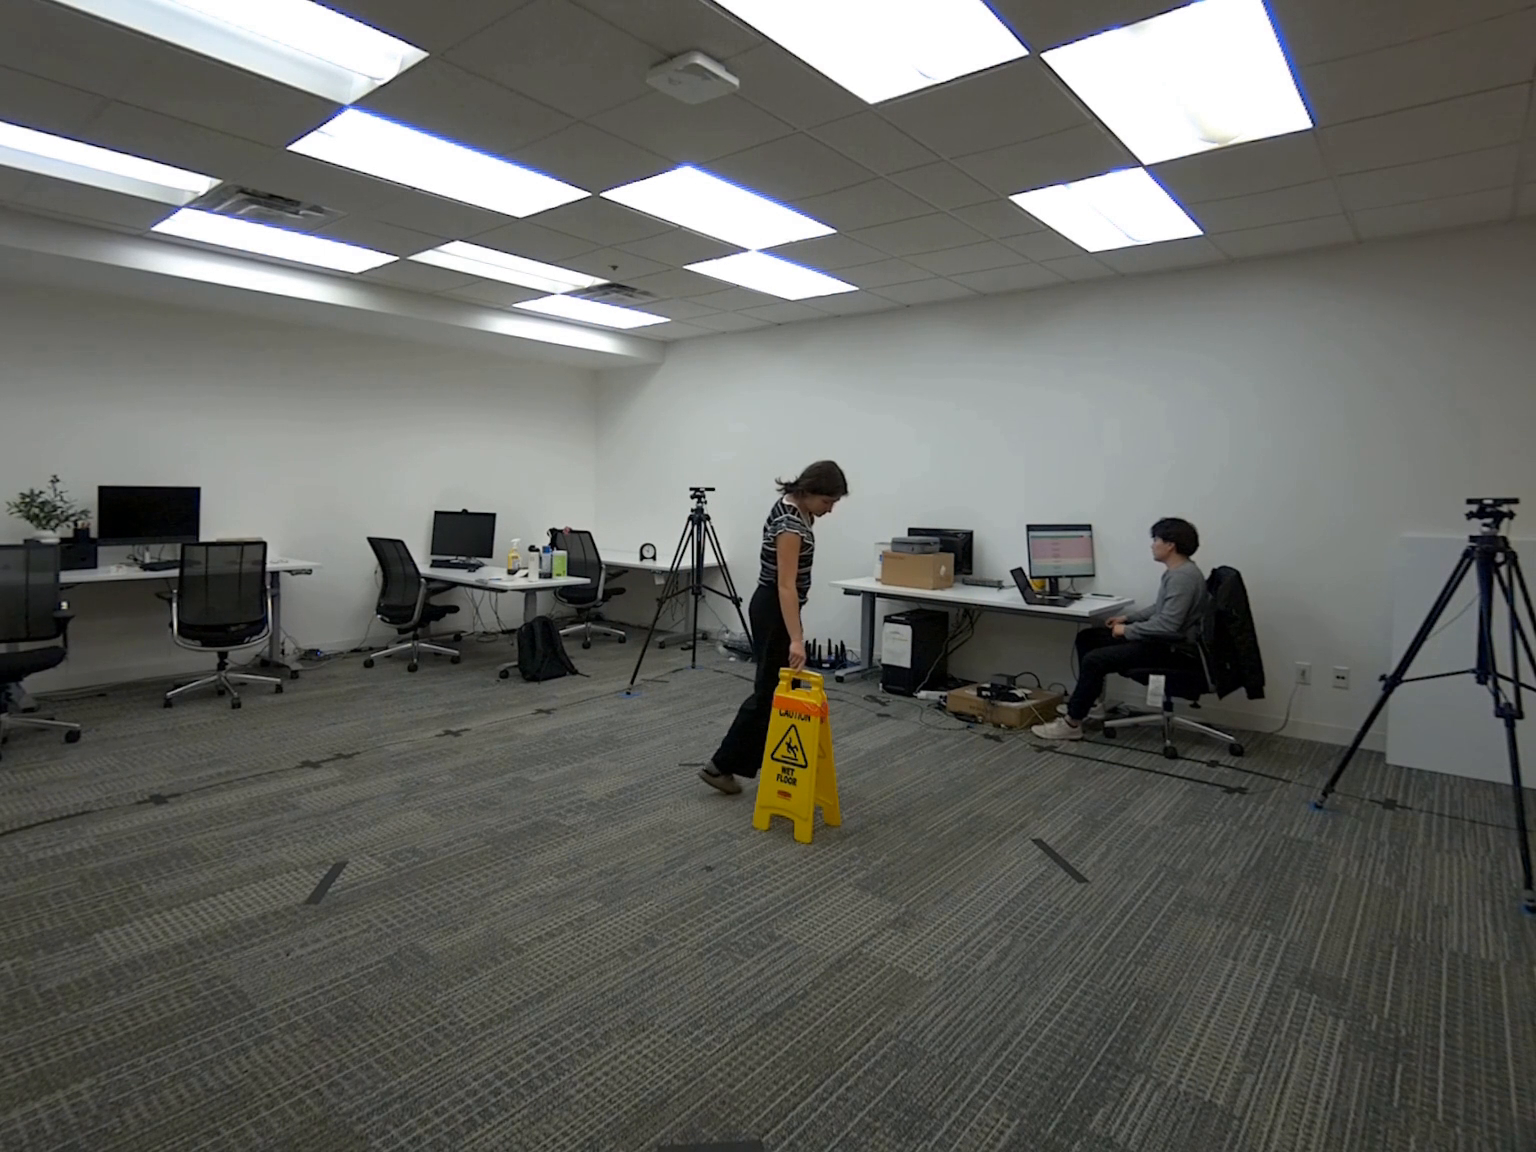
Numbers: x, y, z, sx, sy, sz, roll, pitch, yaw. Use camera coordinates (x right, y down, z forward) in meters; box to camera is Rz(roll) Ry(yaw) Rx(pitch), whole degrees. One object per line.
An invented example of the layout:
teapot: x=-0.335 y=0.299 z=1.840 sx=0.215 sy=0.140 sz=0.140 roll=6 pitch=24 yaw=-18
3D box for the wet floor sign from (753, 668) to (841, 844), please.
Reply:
wet floor sign: x=0.121 y=0.707 z=3.517 sx=0.291 sy=0.644 sz=0.281 roll=4 pitch=3 yaw=35
